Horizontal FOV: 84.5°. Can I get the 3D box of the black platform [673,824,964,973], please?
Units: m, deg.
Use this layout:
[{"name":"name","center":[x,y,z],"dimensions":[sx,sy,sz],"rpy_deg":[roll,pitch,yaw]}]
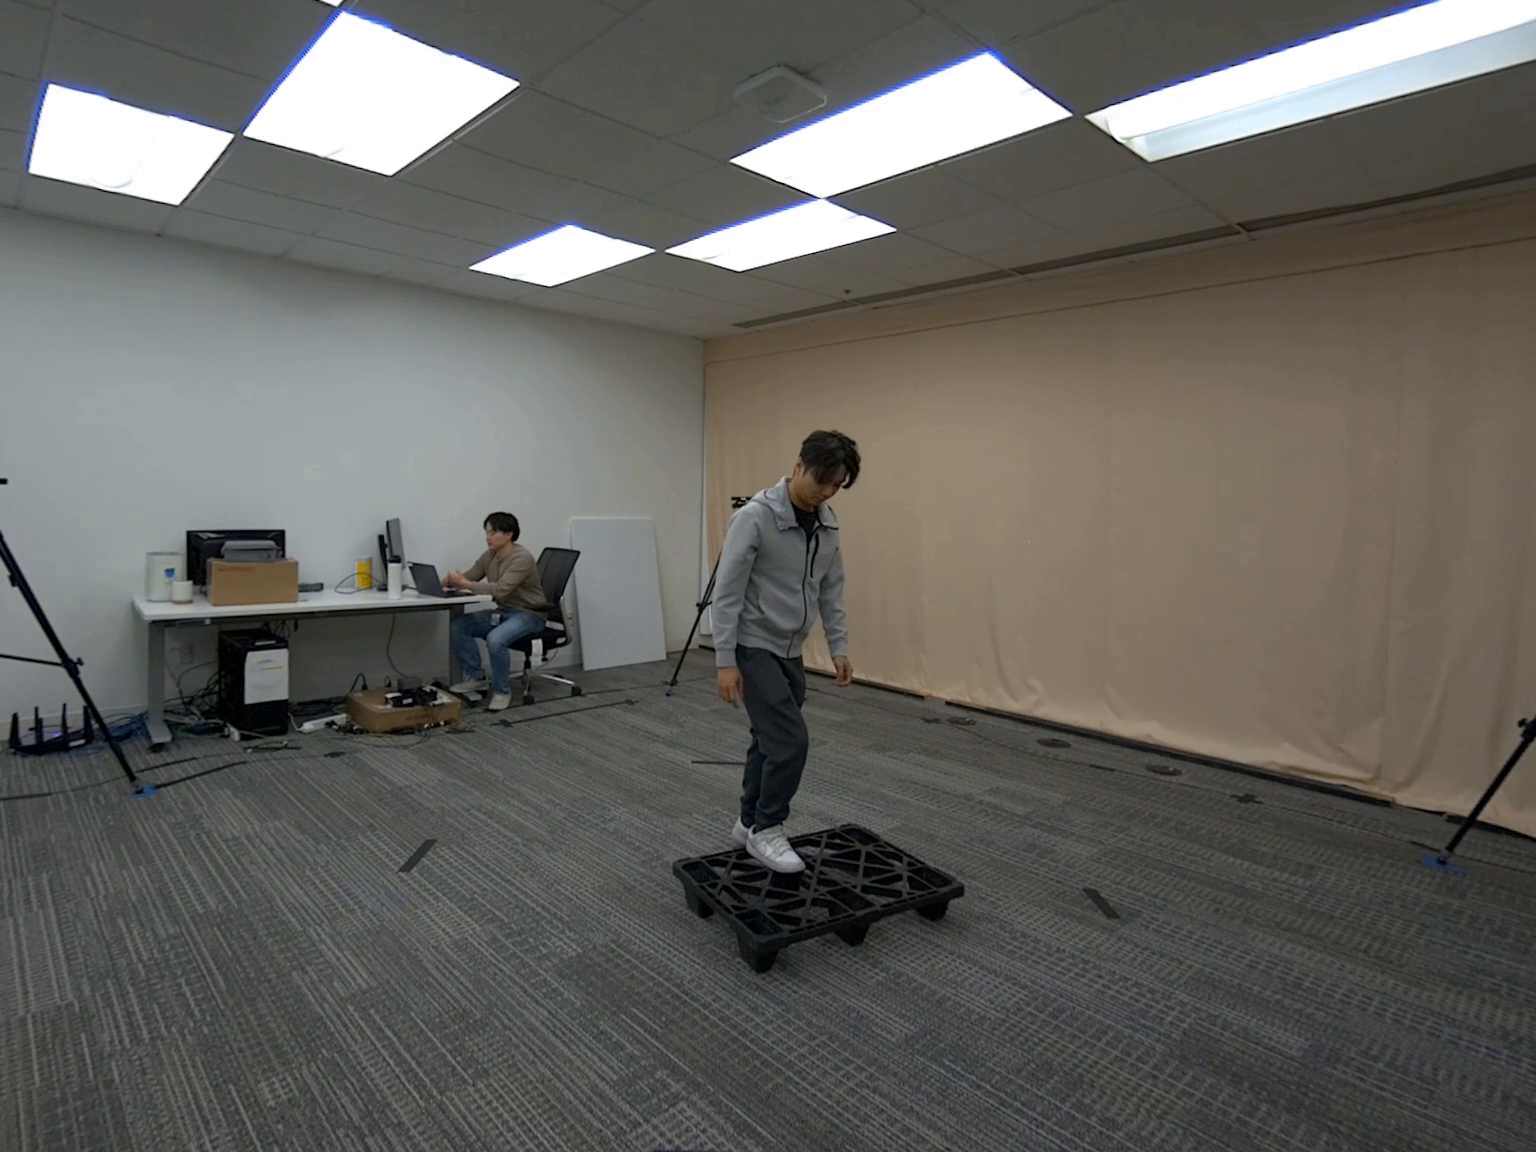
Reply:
[{"name":"black platform","center":[0.145,1.071,2.843],"dimensions":[0.789,0.143,0.619],"rpy_deg":[-2,5,-30]}]
